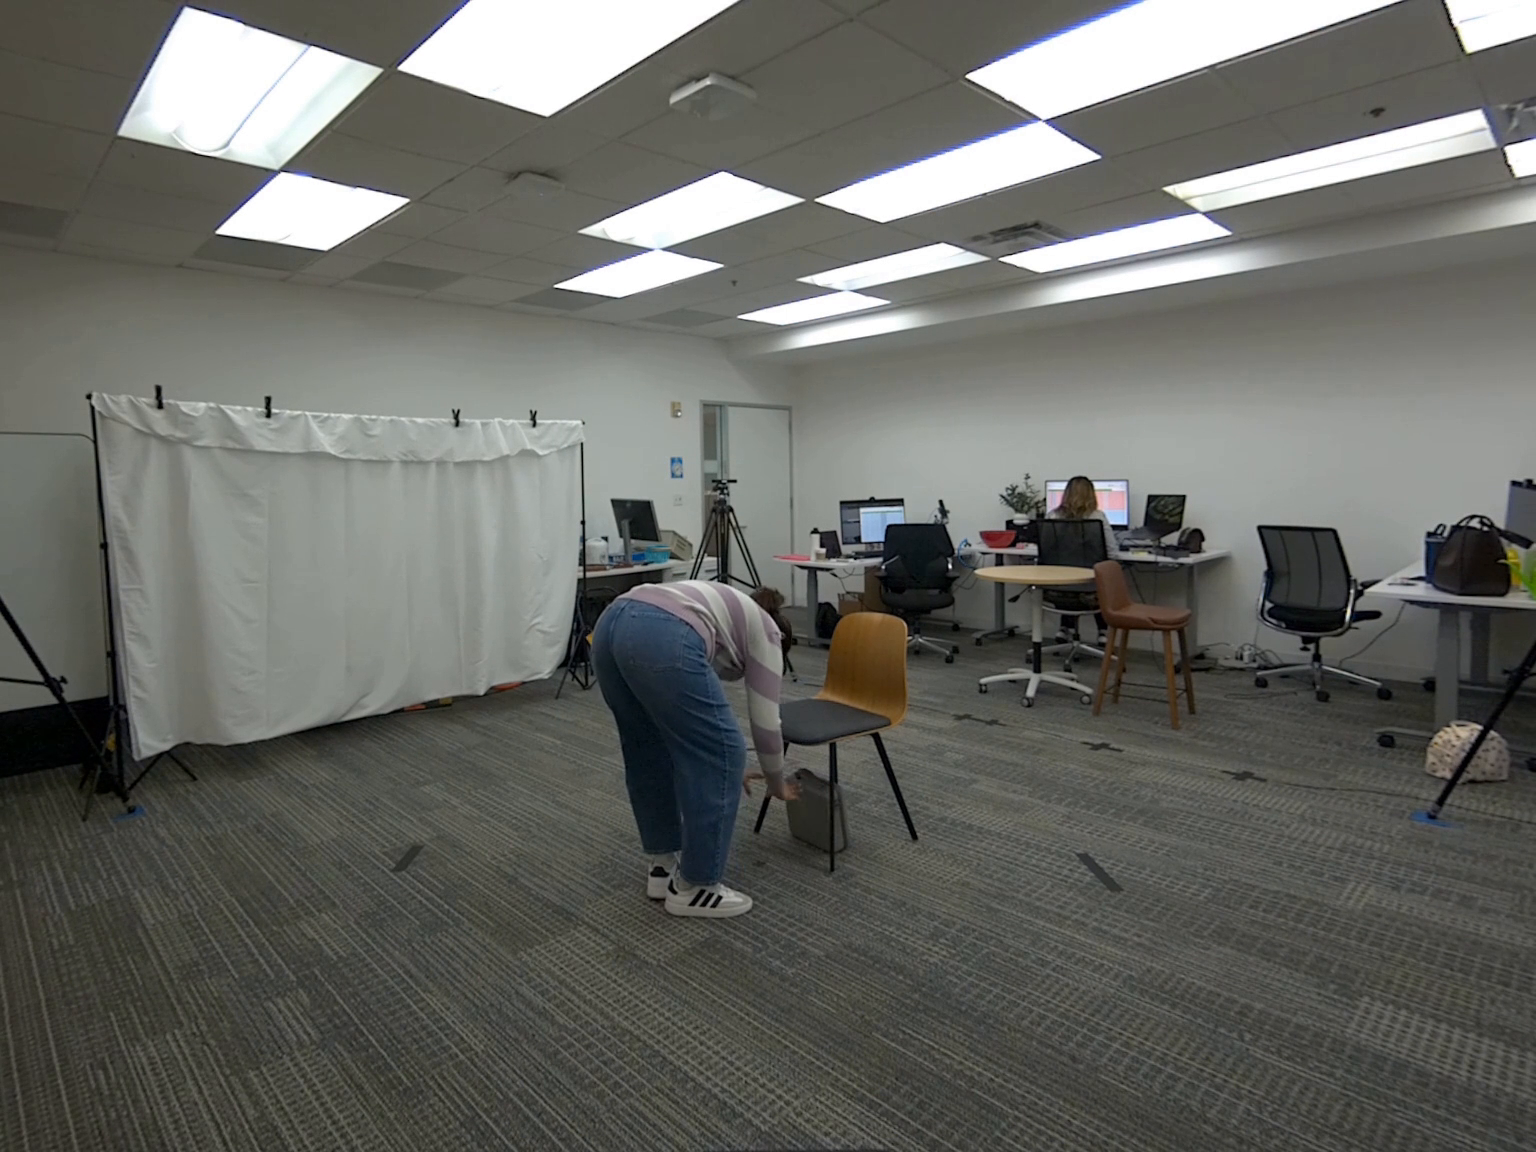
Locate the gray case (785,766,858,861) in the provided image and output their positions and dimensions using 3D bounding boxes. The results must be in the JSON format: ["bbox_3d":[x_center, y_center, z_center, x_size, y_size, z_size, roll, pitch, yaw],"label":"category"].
[{"bbox_3d":[0.193,0.896,3.263,0.102,0.258,0.265,-17,13,-36],"label":"gray case"}]
